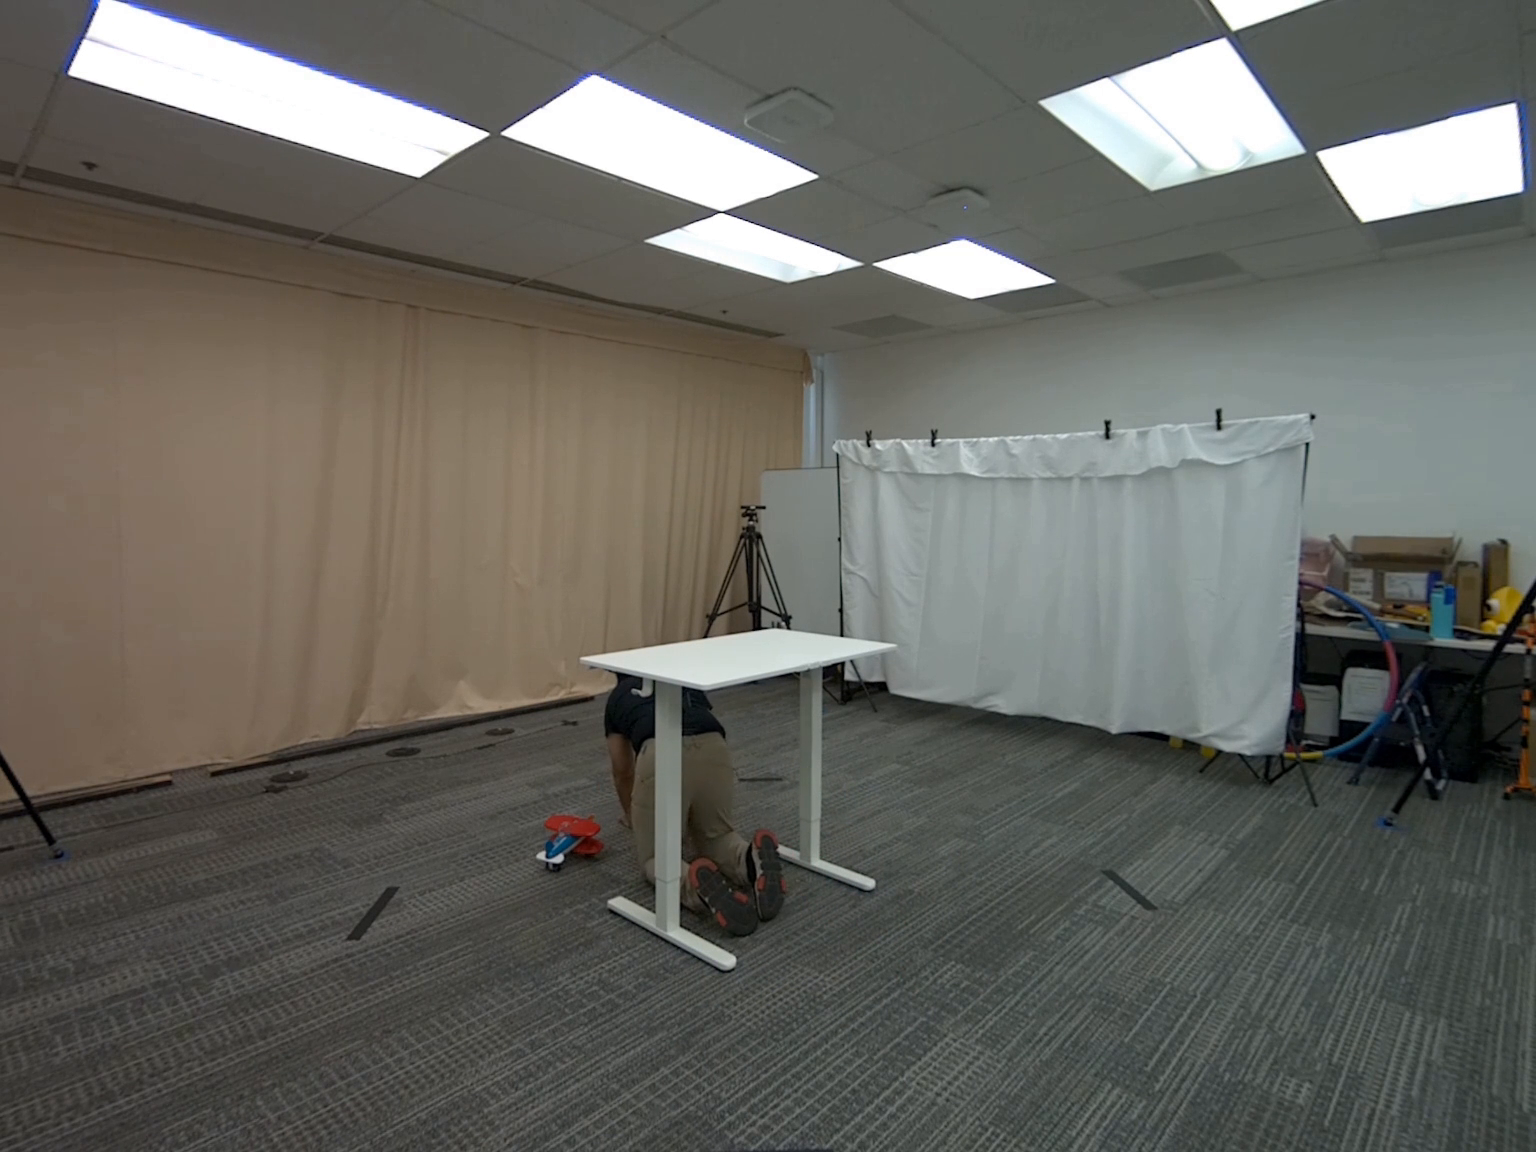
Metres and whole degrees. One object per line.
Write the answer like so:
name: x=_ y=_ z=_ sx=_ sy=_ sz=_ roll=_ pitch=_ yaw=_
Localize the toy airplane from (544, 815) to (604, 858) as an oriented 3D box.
toy airplane: x=-0.771 y=1.057 z=3.302 sx=0.252 sy=0.156 sz=0.259 roll=0 pitch=3 yaw=1
